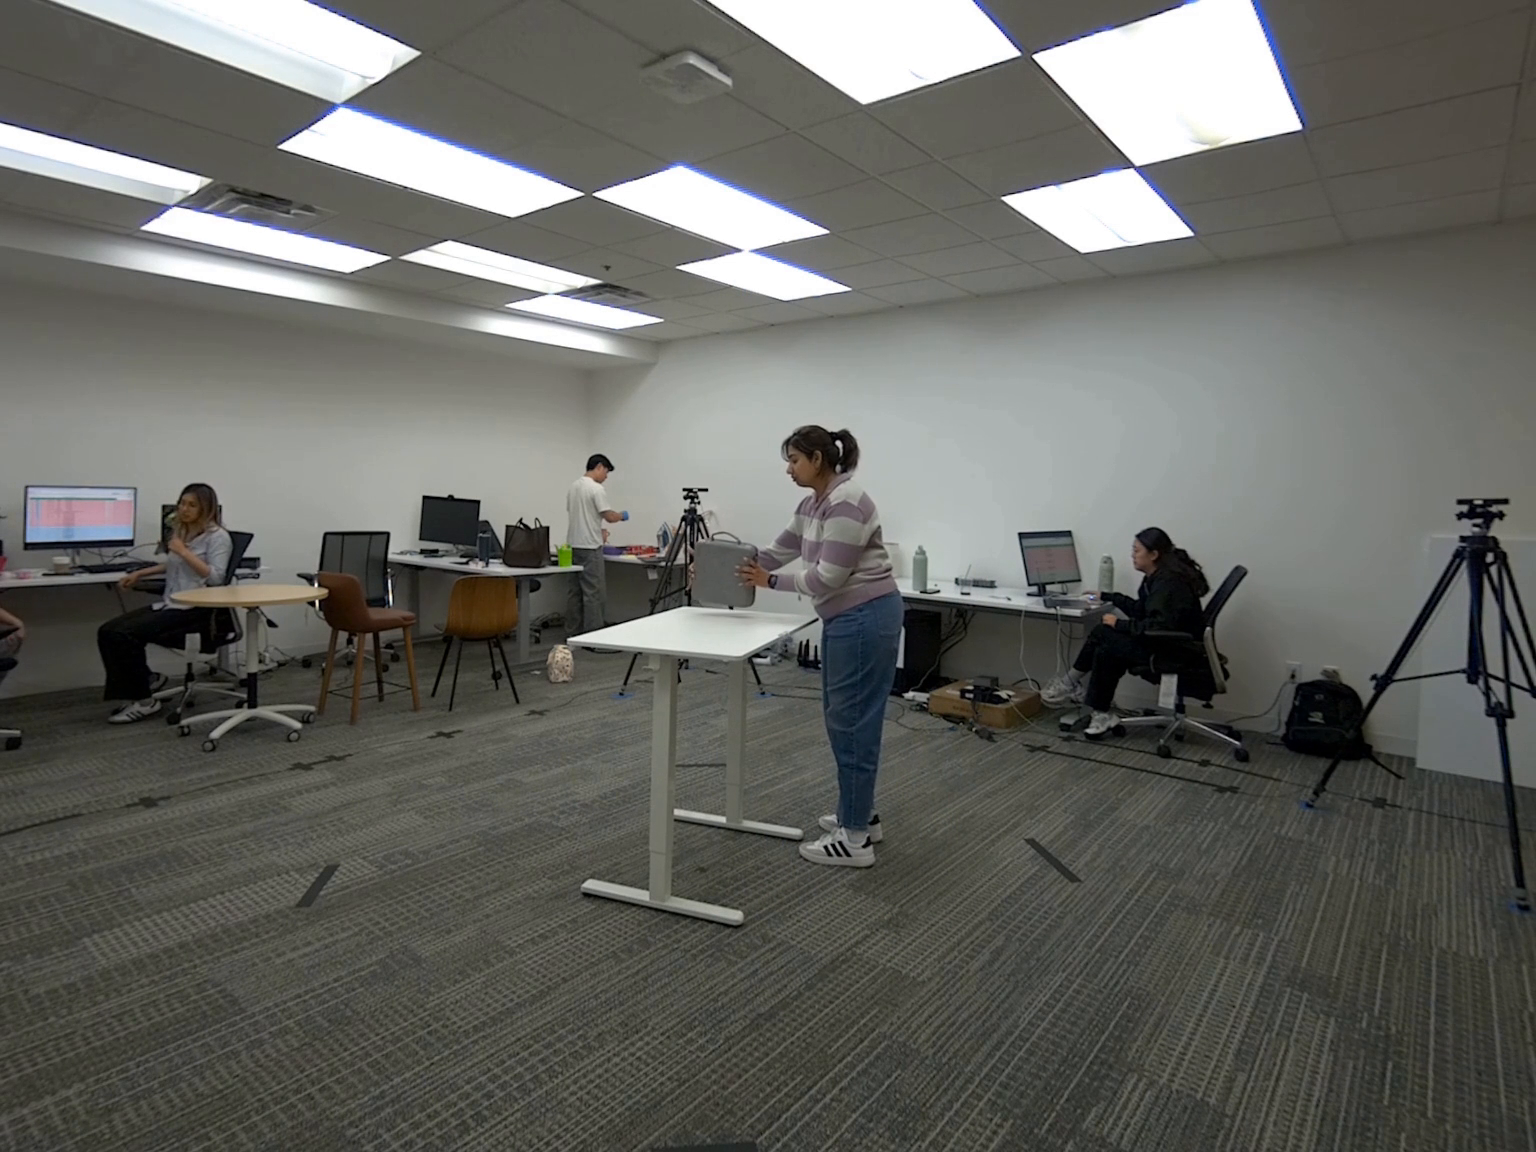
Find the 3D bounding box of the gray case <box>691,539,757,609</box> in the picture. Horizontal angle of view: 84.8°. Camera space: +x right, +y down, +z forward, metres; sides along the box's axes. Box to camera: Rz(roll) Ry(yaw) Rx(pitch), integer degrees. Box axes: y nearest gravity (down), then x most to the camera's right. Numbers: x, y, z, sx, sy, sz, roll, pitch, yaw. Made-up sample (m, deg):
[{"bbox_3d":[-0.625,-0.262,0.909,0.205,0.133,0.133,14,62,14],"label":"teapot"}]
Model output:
[{"bbox_3d":[-0.181,-0.025,3.427,0.262,0.258,0.103,7,9,16],"label":"gray case"}]
